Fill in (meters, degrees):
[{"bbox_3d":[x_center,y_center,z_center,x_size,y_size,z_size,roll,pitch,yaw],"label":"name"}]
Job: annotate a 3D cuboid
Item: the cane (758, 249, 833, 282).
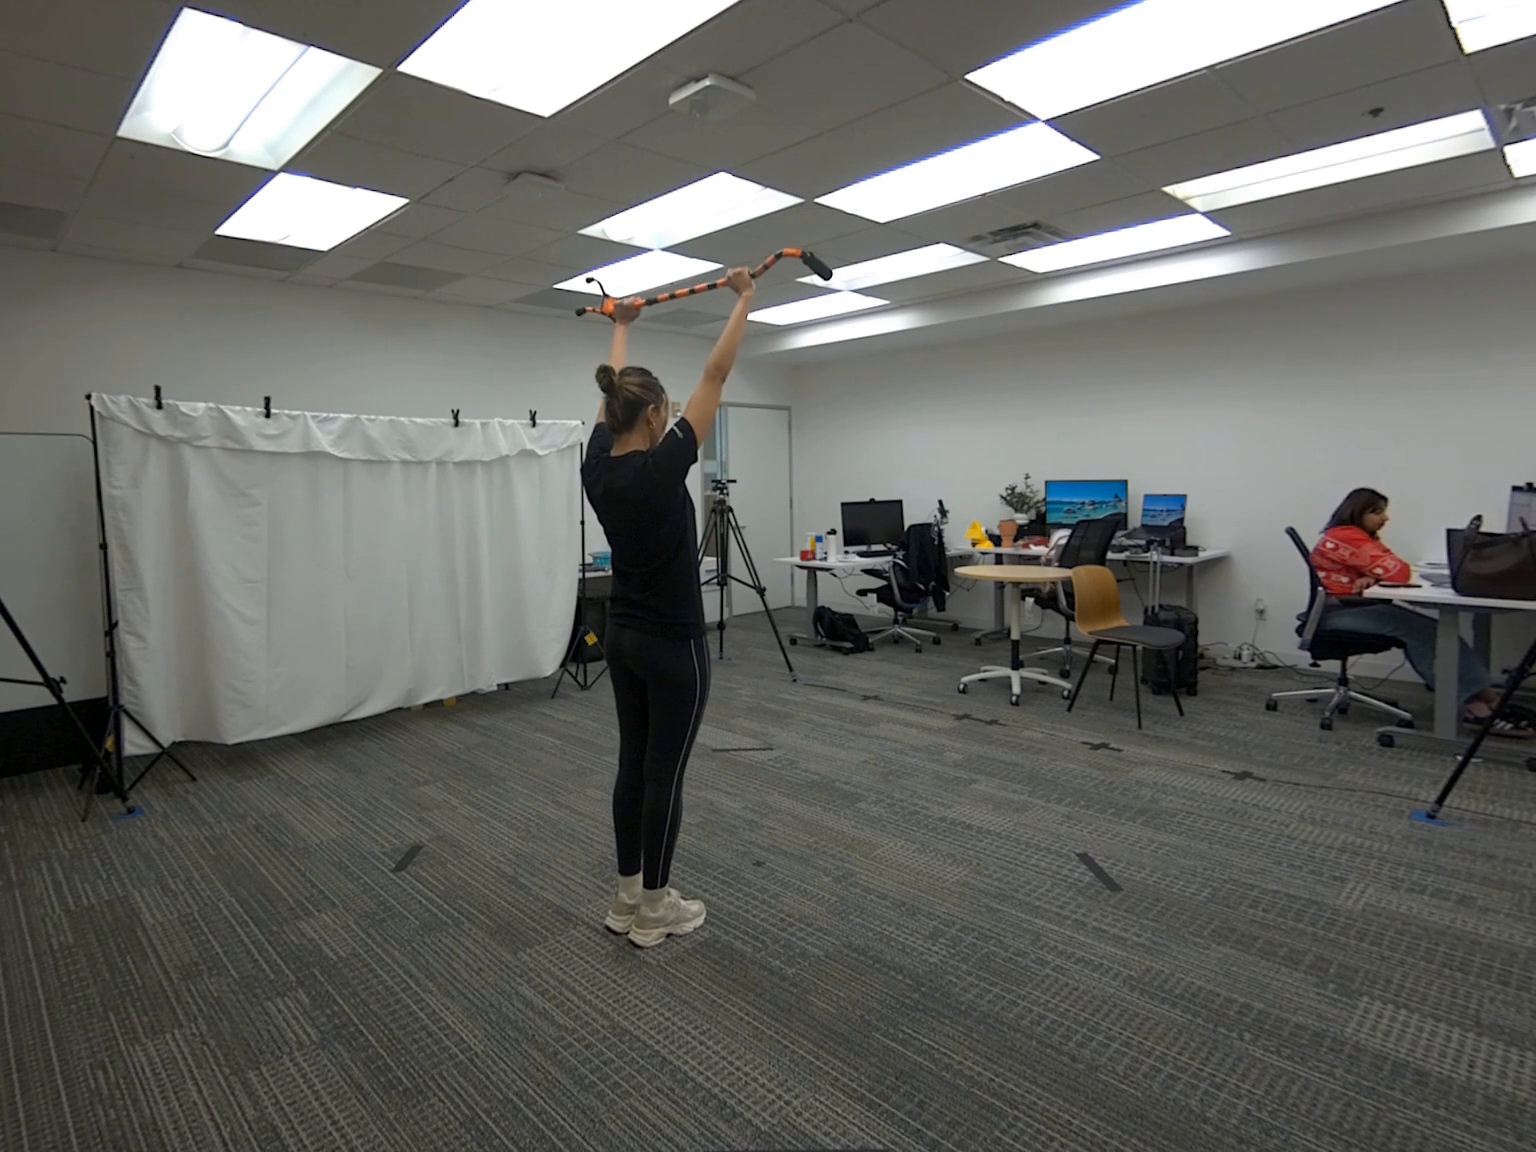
[{"bbox_3d":[-0.219,-0.906,2.663,0.935,0.153,0.199,3,-15,41],"label":"cane"}]
